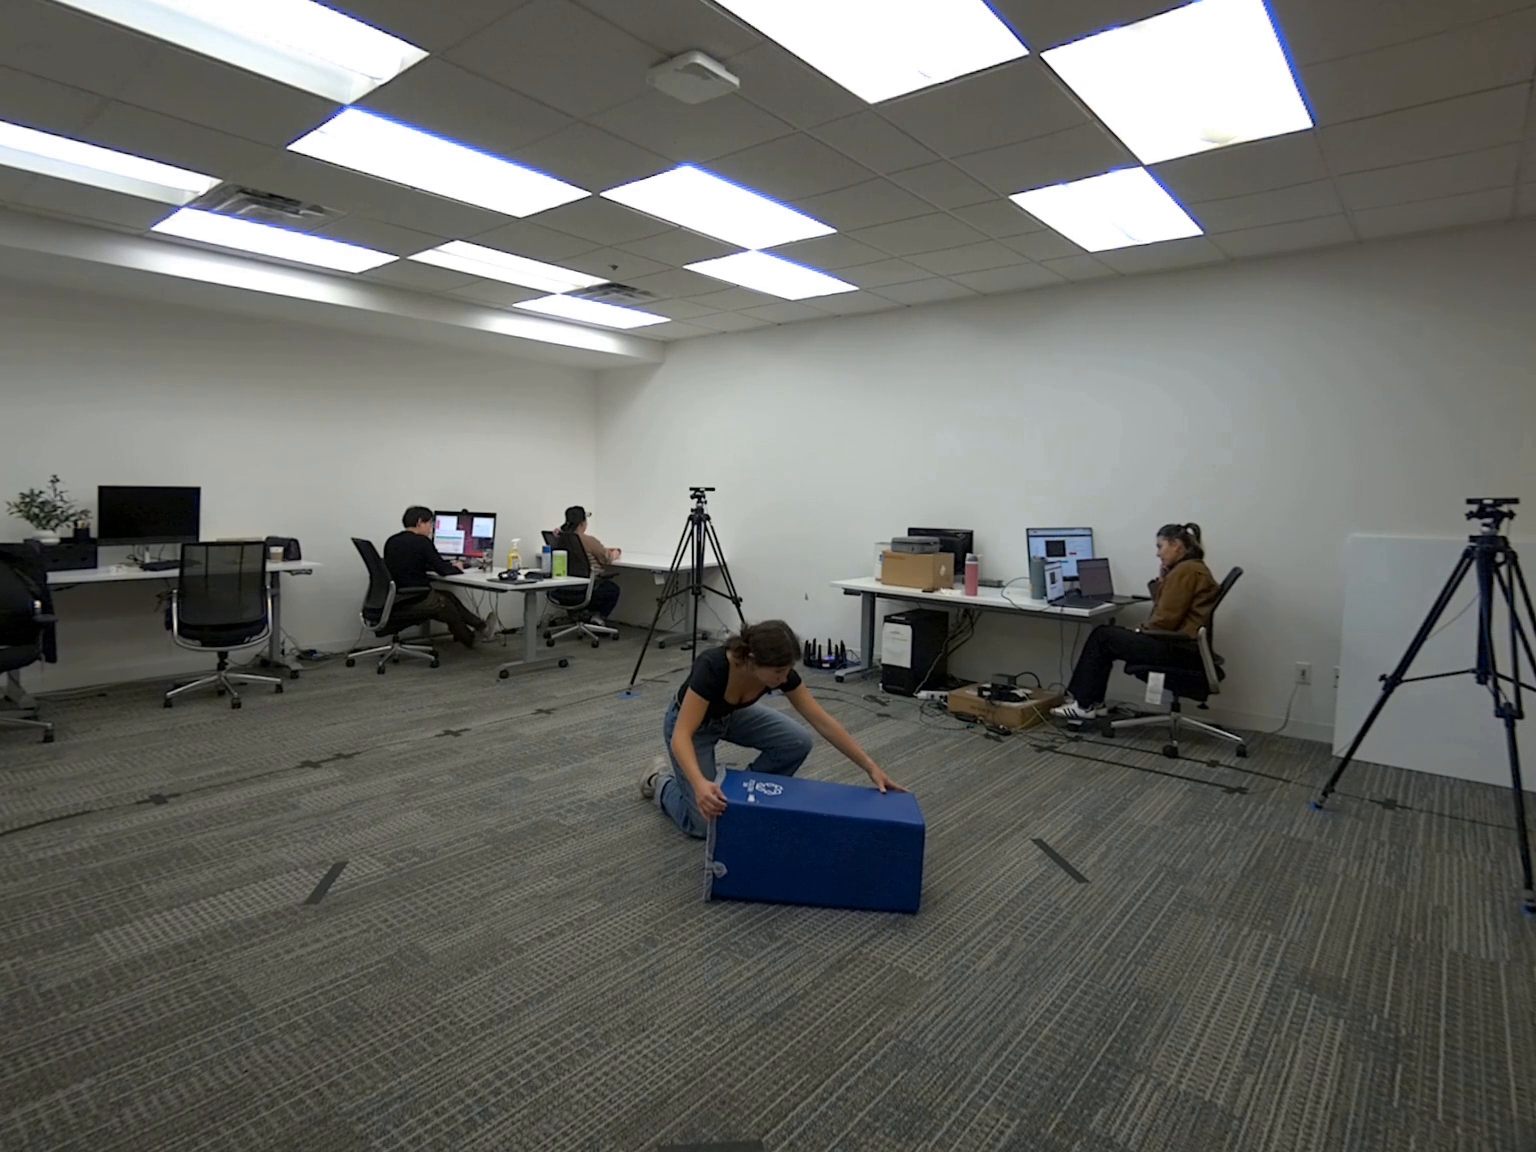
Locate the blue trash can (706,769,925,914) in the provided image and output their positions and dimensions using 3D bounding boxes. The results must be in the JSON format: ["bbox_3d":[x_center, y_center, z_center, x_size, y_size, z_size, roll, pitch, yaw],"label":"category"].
[{"bbox_3d":[0.151,0.920,2.980,0.718,0.377,0.373,4,3,5],"label":"blue trash can"}]
